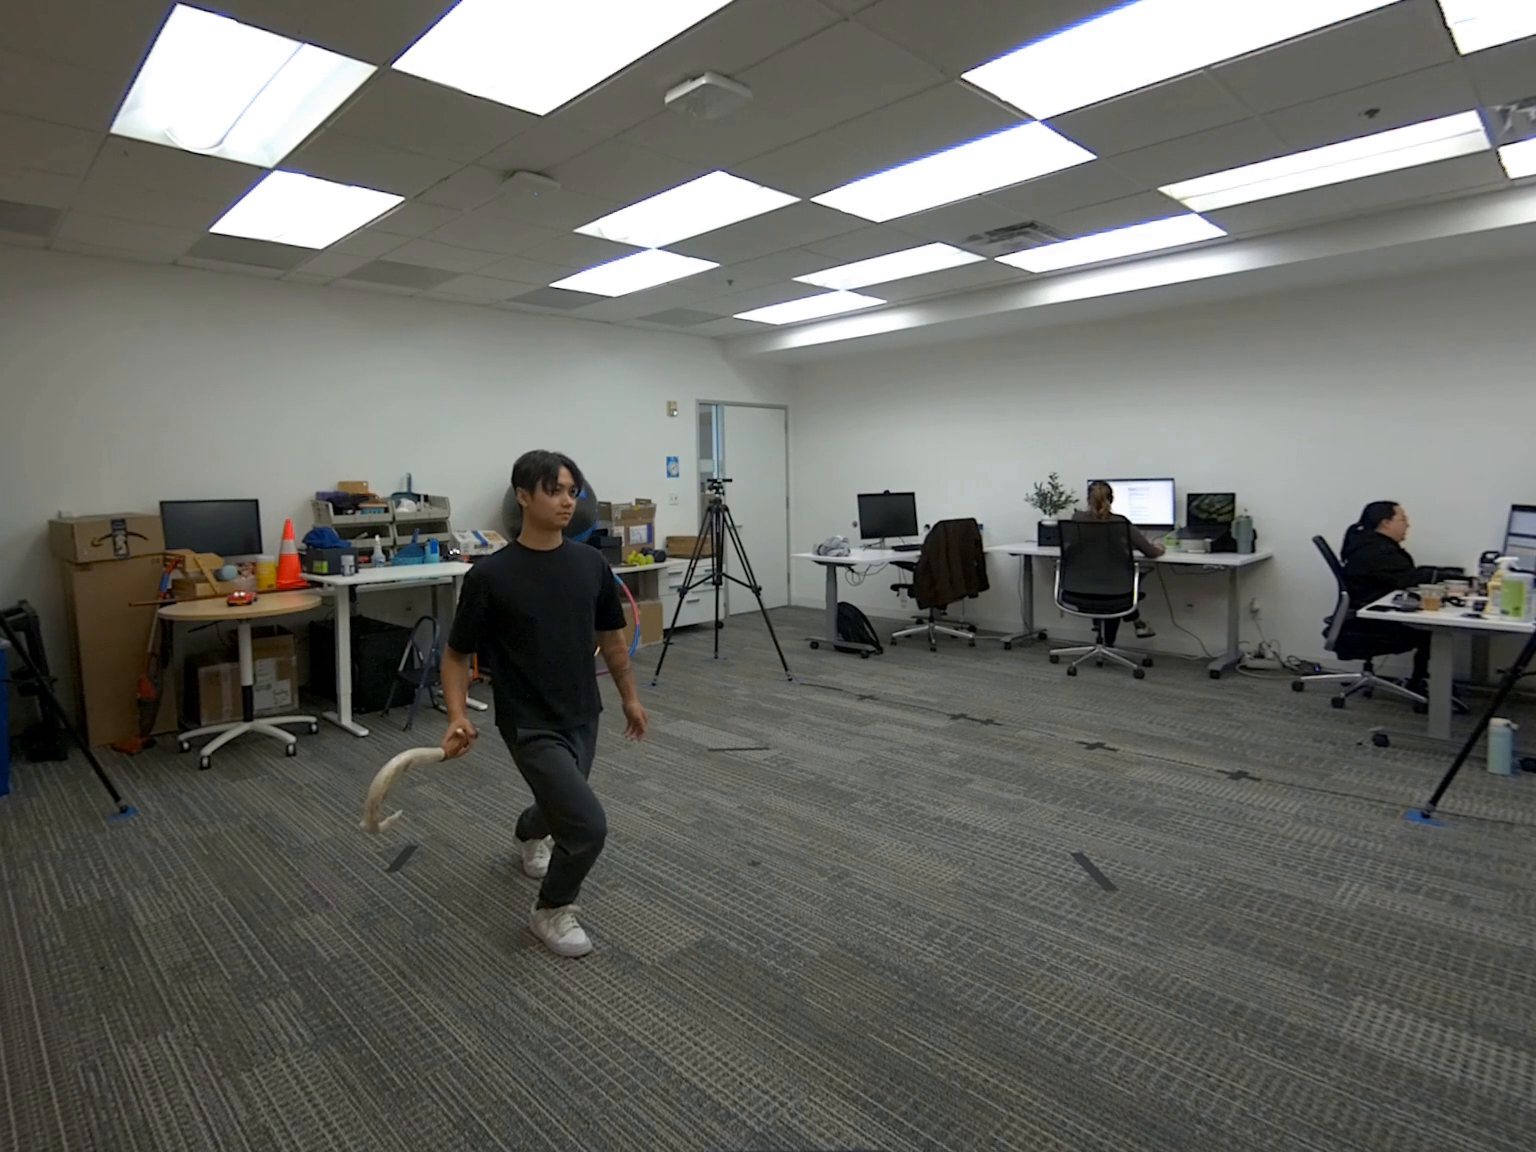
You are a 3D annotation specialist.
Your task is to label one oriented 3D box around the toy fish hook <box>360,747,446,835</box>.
[{"bbox_3d":[-0.887,0.528,2.257,0.049,0.224,0.504,25,8,5],"label":"toy fish hook"}]
